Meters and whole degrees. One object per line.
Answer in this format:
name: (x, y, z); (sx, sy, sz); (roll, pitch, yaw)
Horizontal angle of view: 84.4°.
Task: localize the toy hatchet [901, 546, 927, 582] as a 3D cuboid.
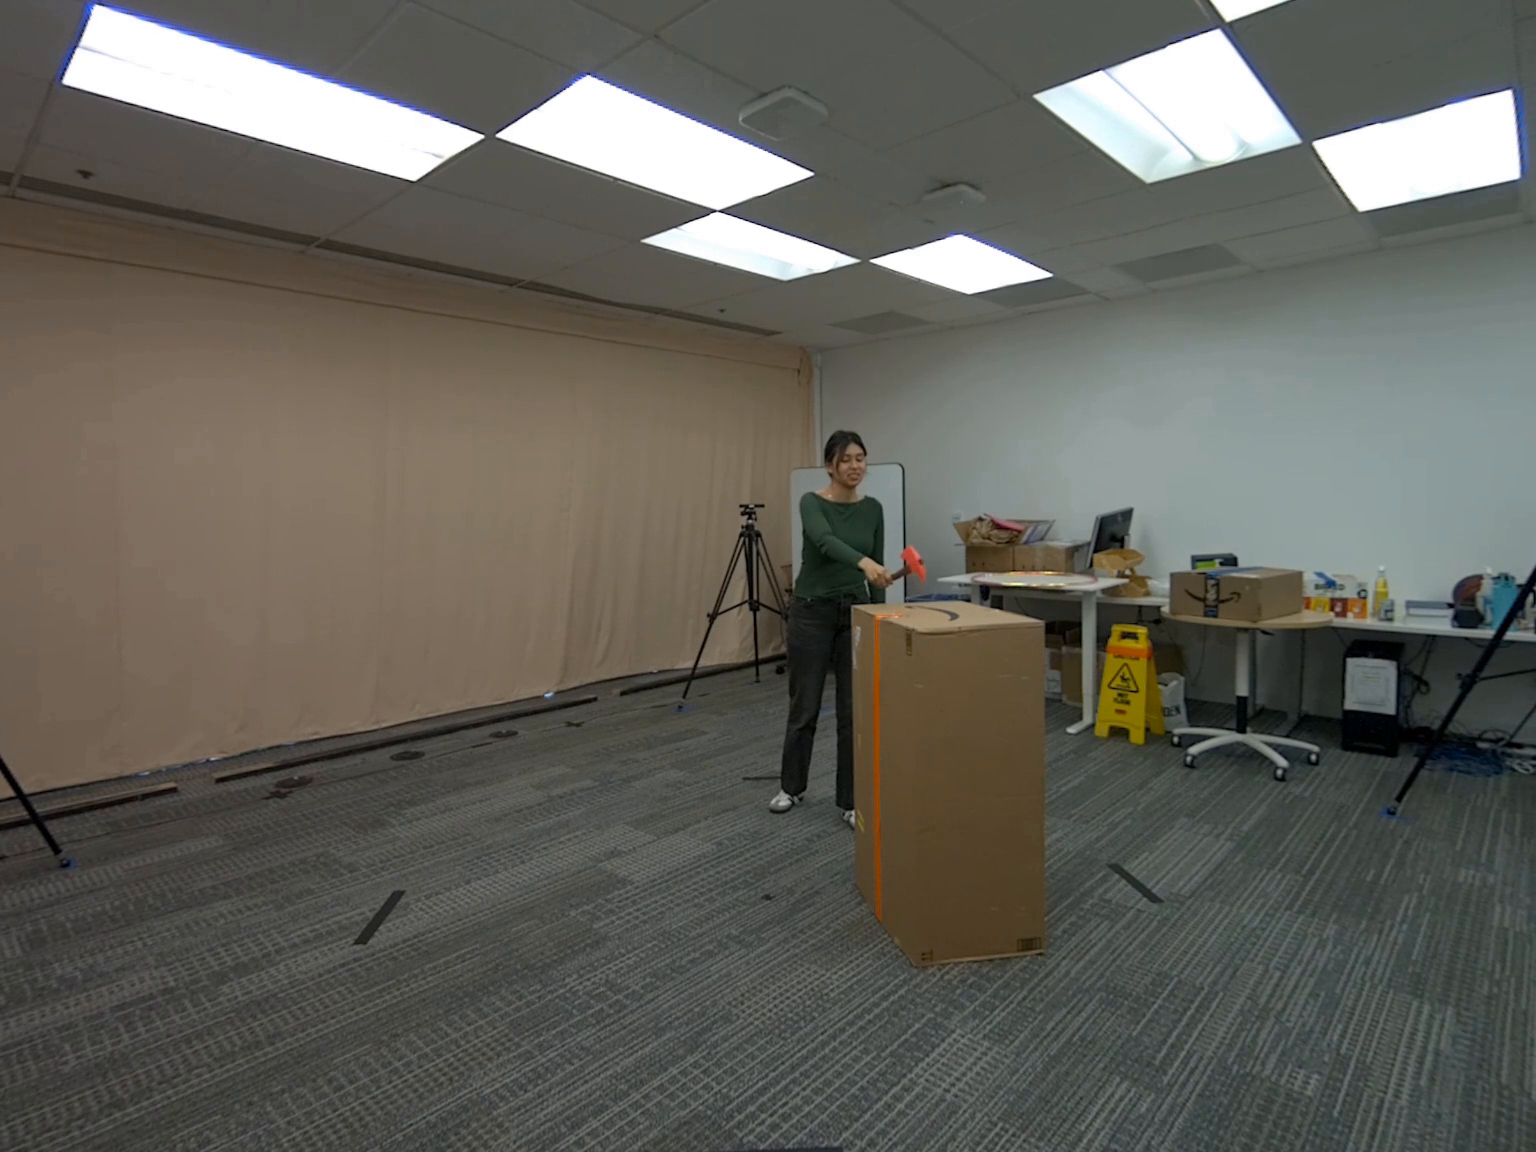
toy hatchet: (0.465, -0.046, 3.041); (0.029, 0.131, 0.278); (-12, 4, -35)
